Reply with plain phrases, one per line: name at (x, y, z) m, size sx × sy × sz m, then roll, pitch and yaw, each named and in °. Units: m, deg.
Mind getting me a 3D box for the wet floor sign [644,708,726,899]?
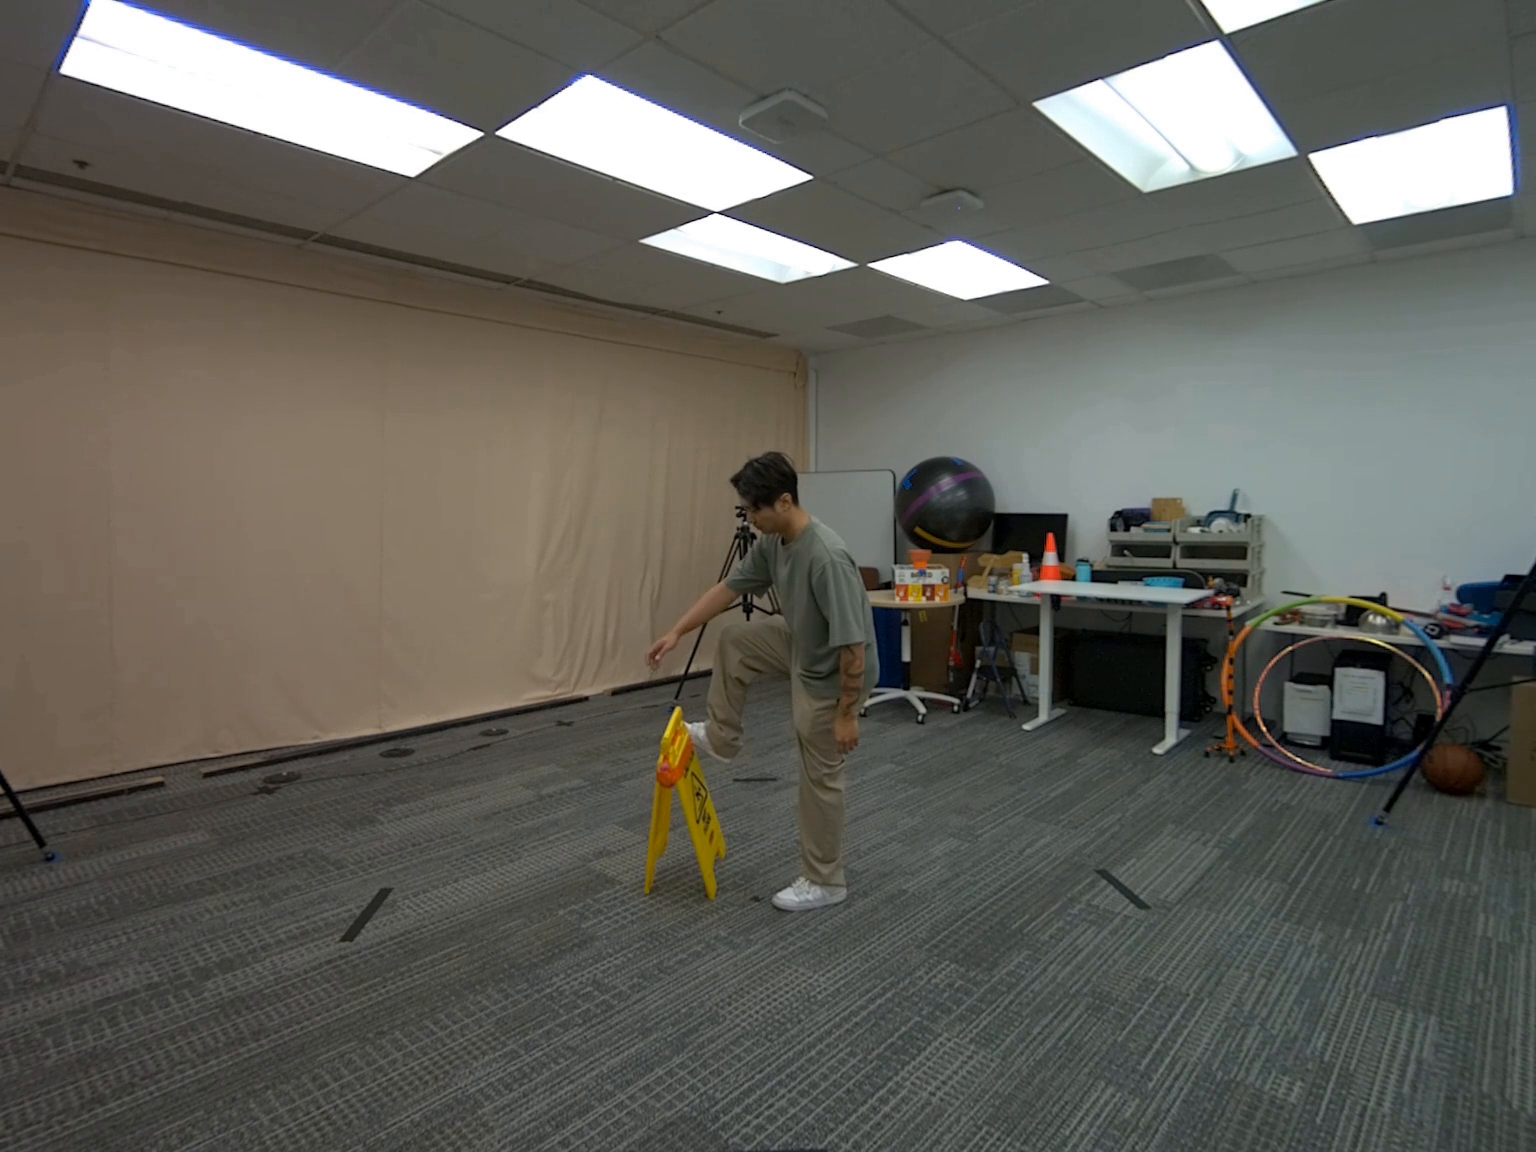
wet floor sign at (-0.324, 0.806, 3.002) m, size 0.293 × 0.637 × 0.283 m, roll -2°, pitch 20°, yaw 11°
